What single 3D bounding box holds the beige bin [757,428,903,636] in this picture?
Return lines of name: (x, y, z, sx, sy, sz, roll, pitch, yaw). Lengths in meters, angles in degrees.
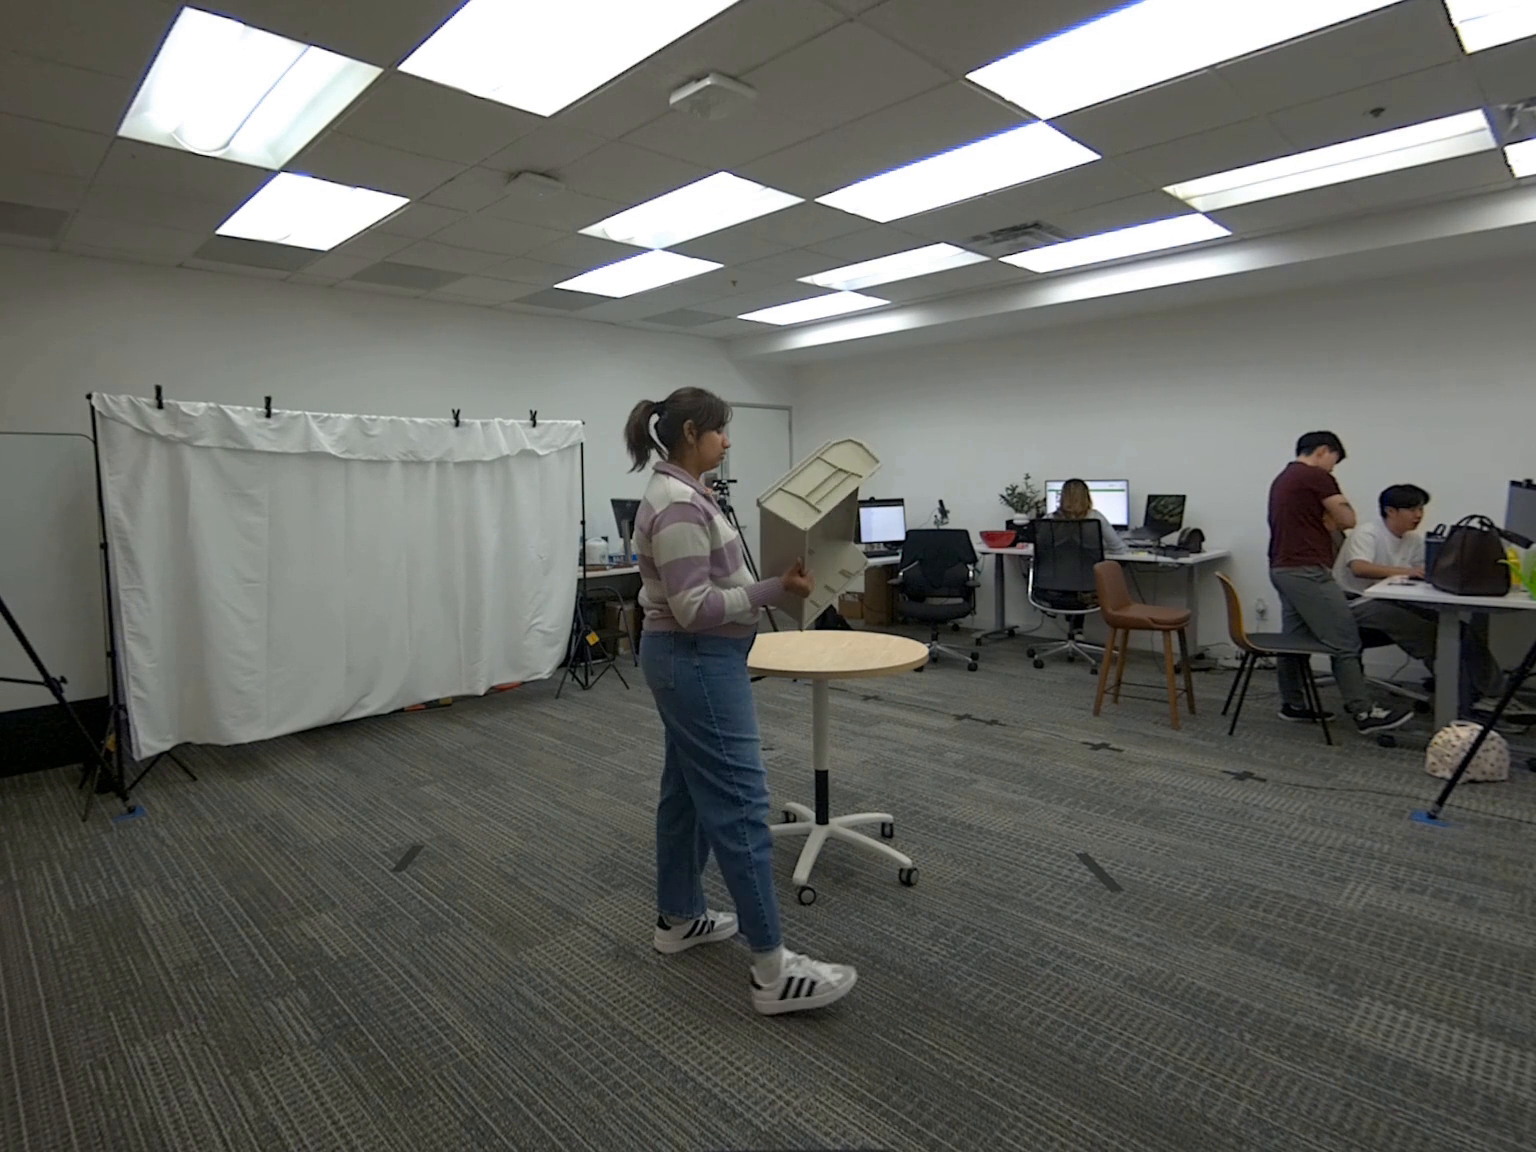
beige bin: (0.166, -0.124, 2.432, 0.195, 0.411, 0.376, 33, 56, 25)
